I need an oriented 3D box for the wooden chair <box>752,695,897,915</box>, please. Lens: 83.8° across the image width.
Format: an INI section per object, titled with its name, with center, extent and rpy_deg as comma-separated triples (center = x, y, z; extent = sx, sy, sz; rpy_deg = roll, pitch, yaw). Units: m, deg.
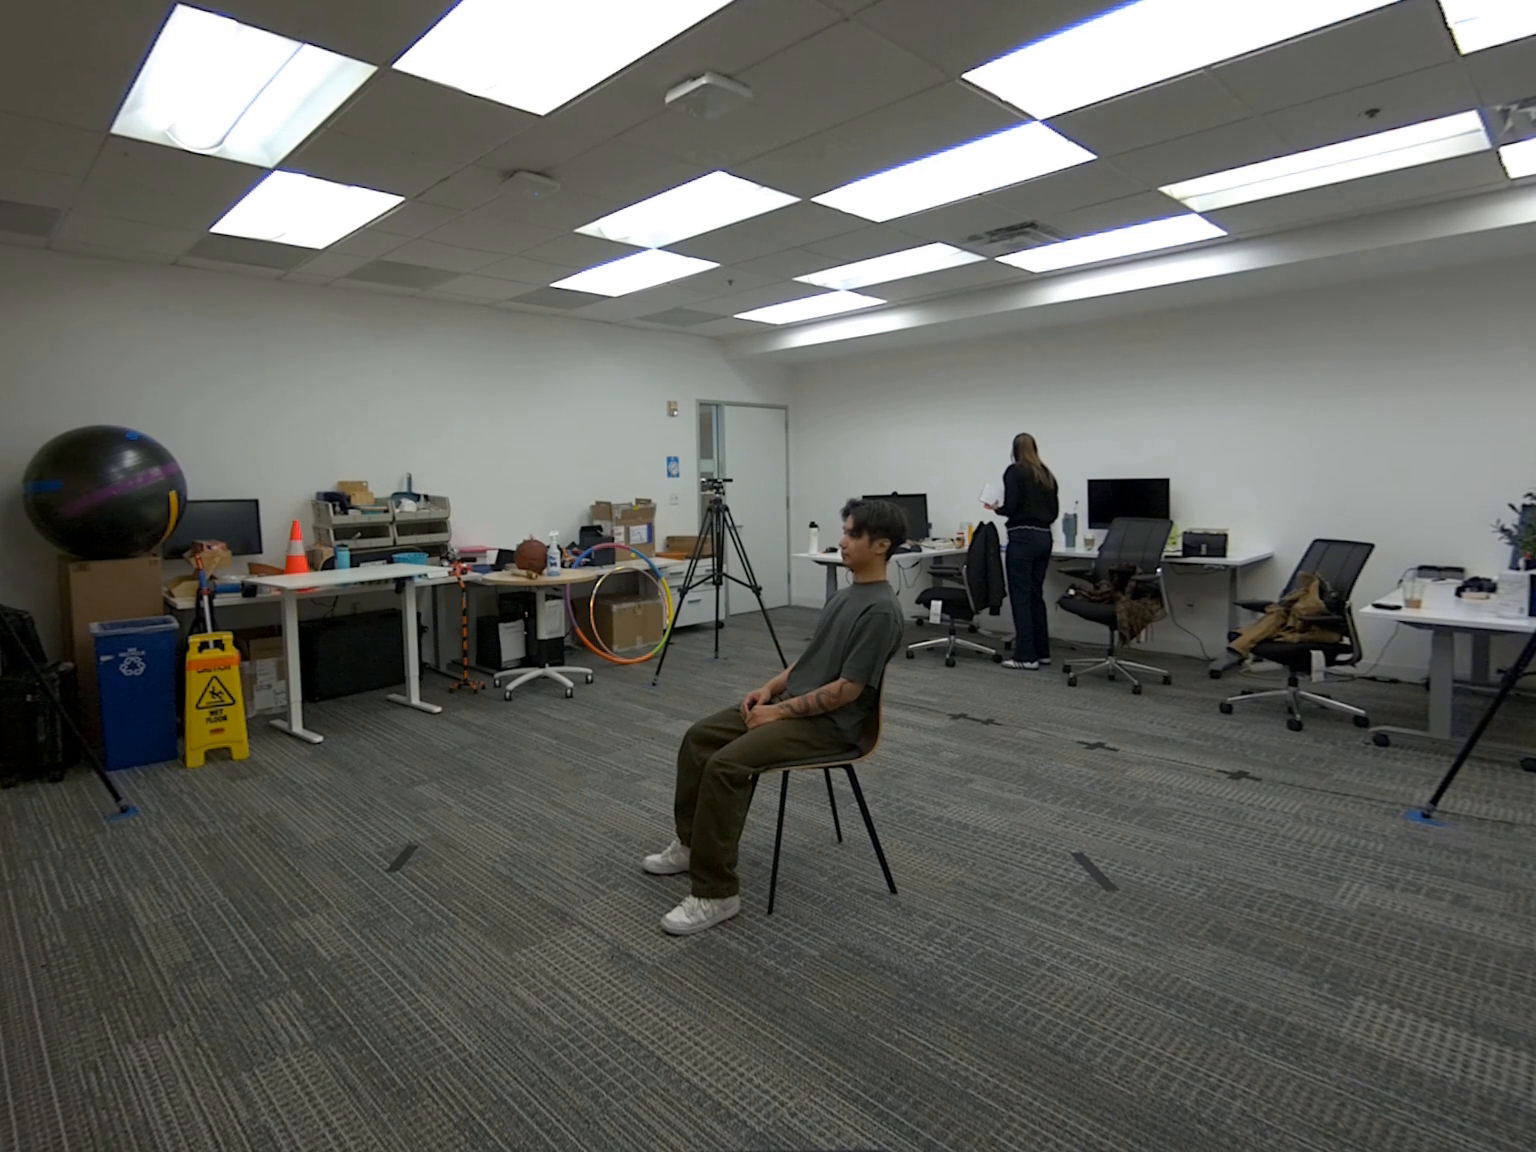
[wooden chair]
center = 0.135, 0.622, 2.980
extent = 0.514, 0.875, 0.488
rpy_deg = 2, 4, -18
